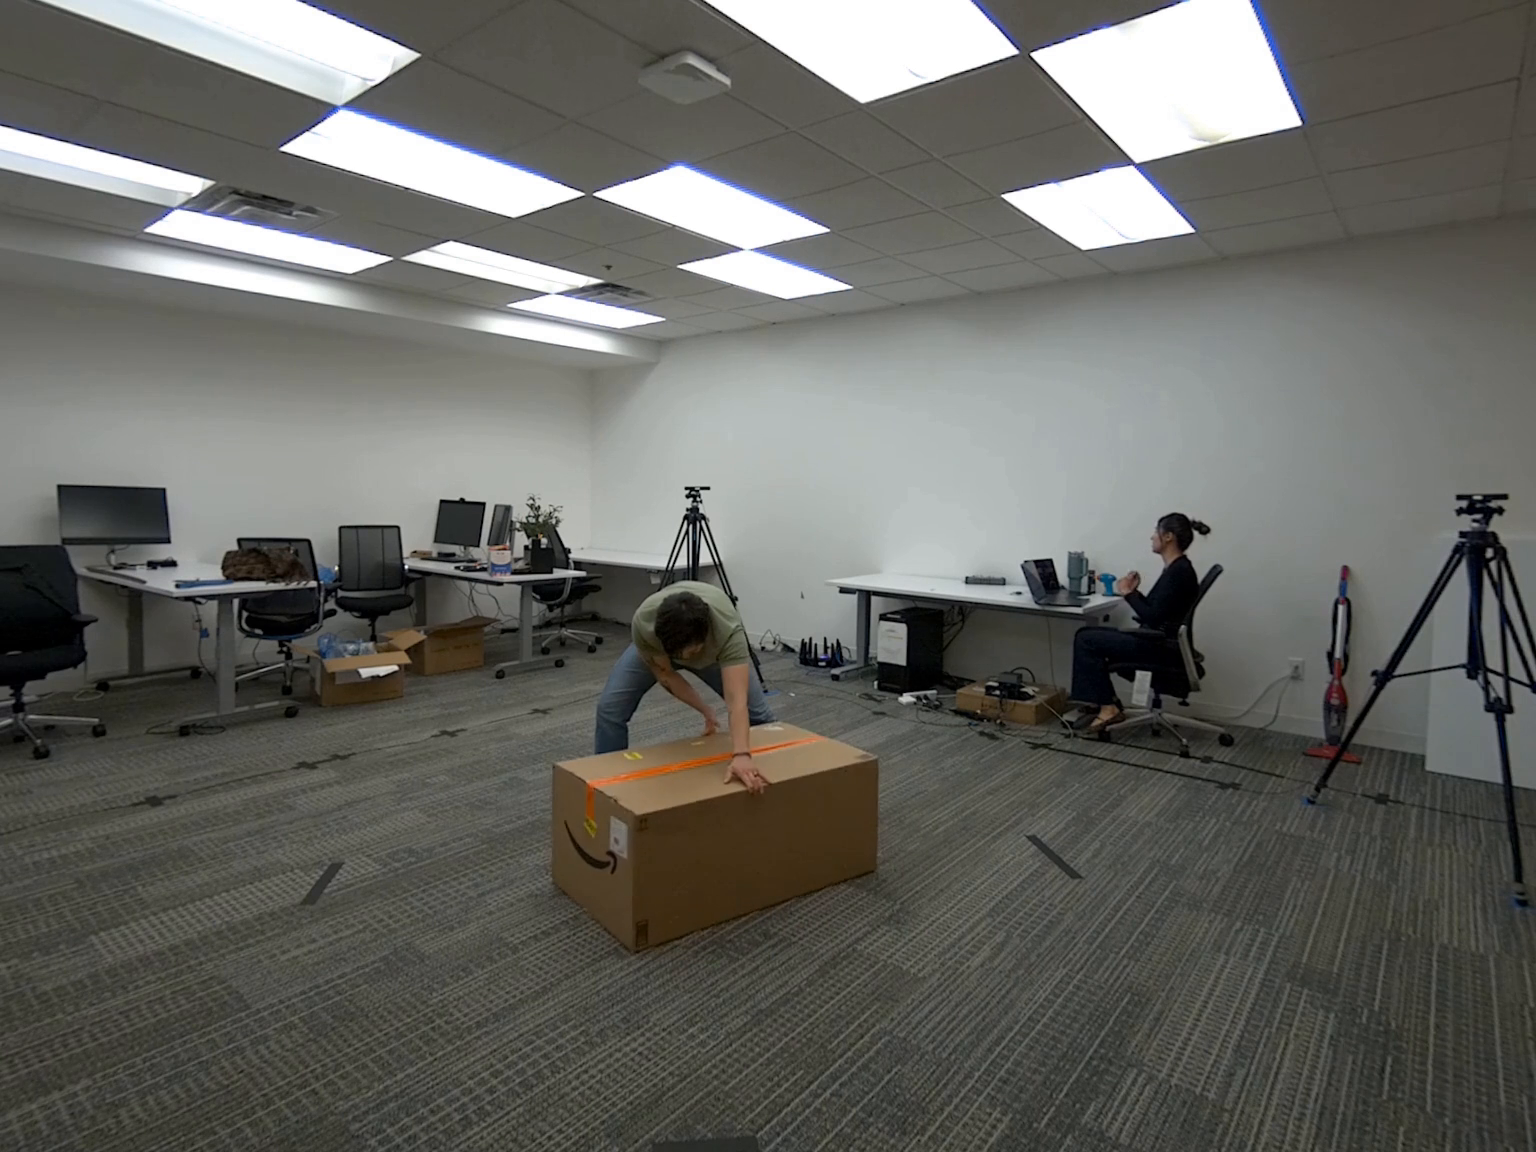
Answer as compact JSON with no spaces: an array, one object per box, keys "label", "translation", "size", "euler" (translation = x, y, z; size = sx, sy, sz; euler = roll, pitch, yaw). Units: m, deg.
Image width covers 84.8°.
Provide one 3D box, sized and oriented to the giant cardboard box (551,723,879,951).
[{"label":"giant cardboard box","translation":[-0.177,0.860,3.032],"size":[0.996,0.425,0.596],"euler":[-3,6,-37]}]
